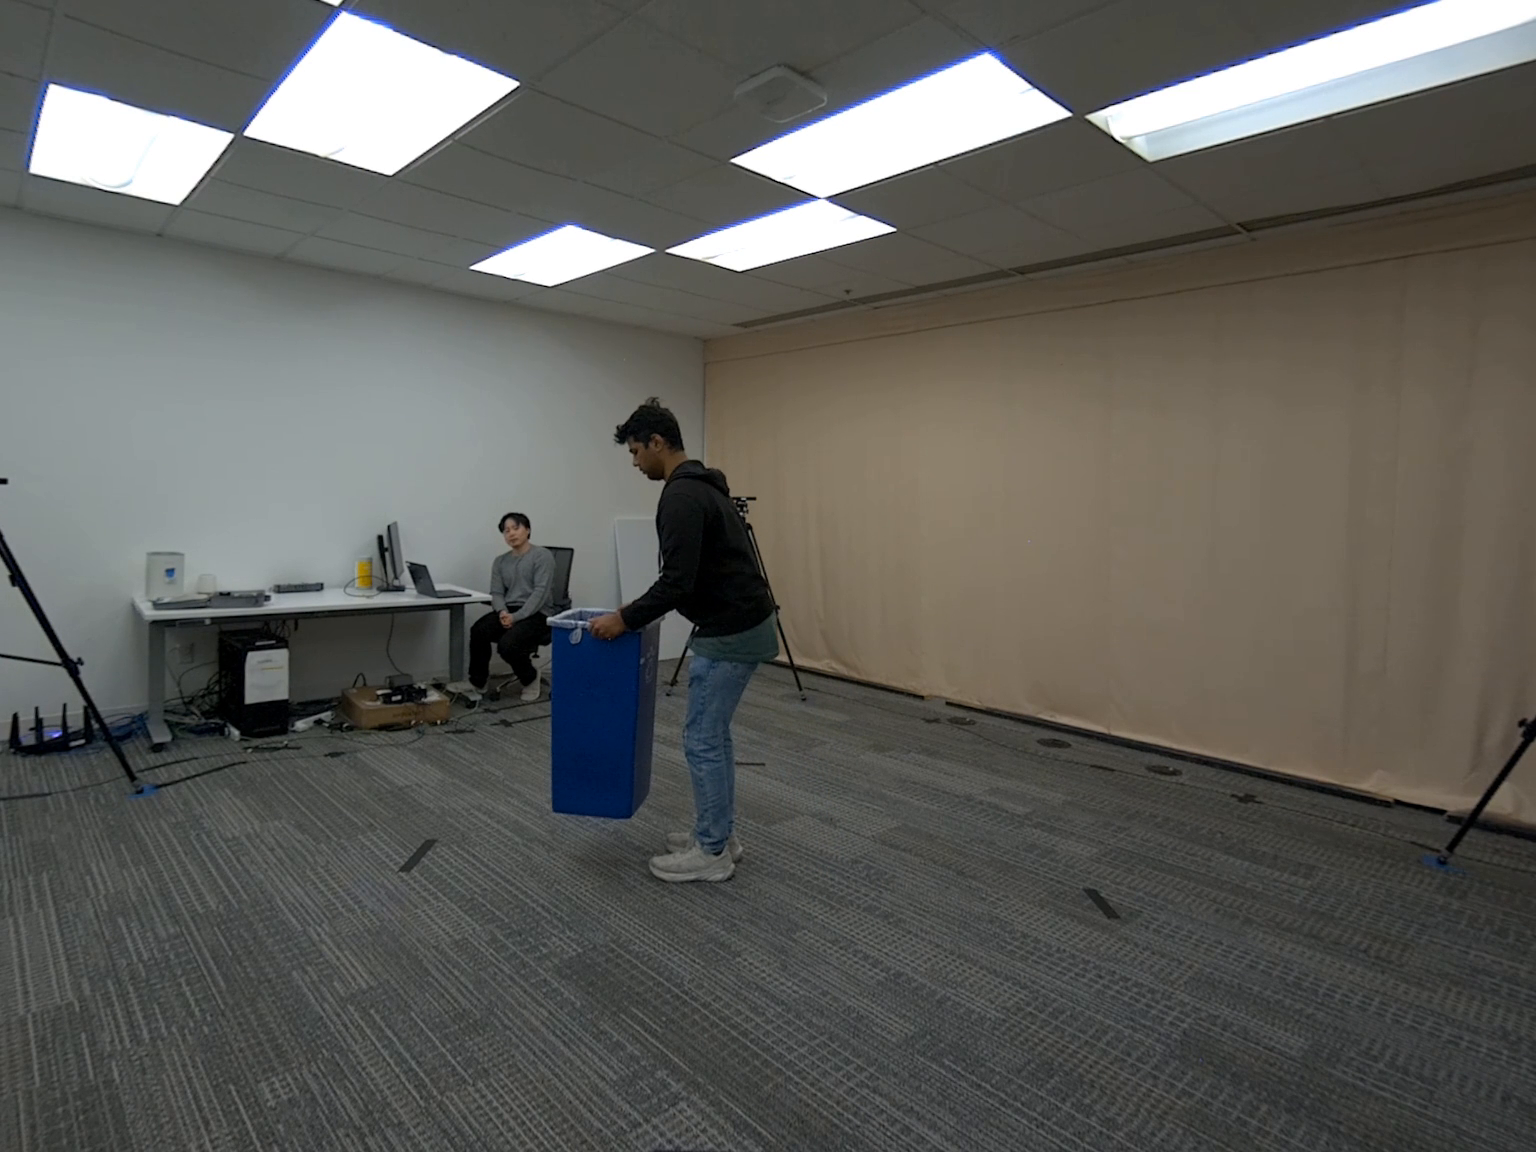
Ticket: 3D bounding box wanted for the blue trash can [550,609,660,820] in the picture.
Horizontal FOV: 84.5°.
[{"bbox_3d":[-0.625,0.511,3.196,0.381,0.712,0.372,3,3,8],"label":"blue trash can"}]
